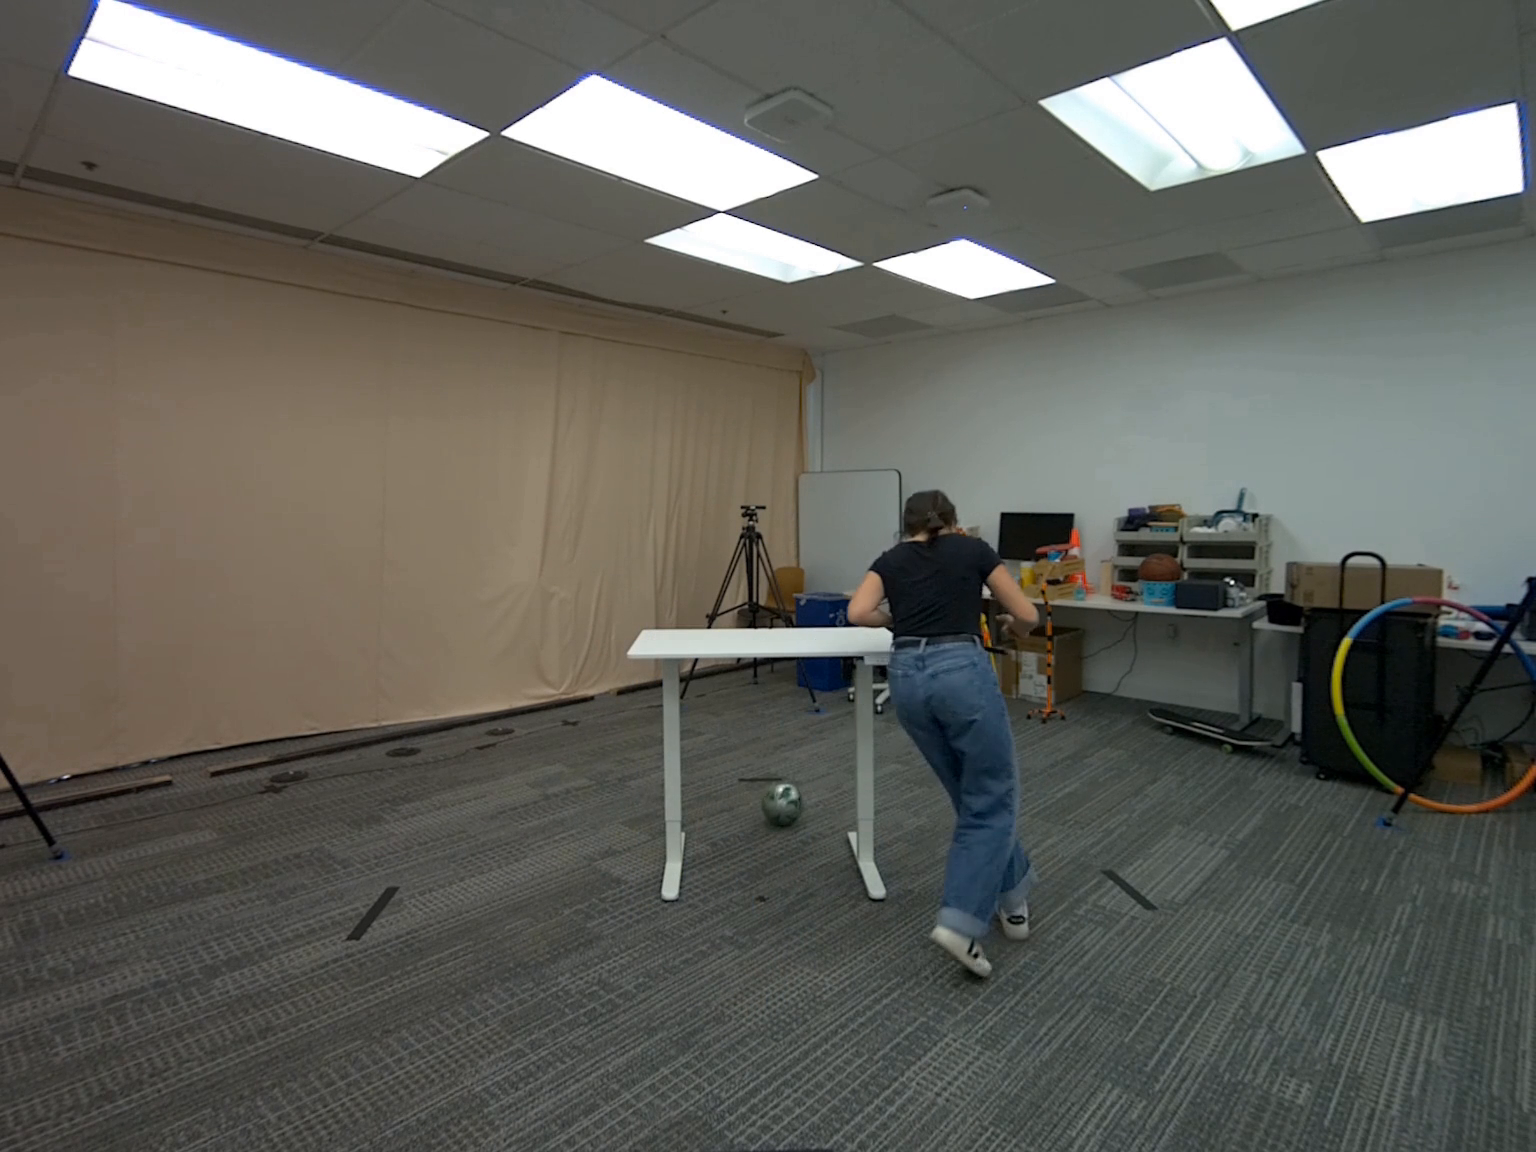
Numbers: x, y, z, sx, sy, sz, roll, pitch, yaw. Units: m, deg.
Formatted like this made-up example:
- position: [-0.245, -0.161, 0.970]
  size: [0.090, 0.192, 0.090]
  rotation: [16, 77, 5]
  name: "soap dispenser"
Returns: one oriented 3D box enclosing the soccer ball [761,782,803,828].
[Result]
- position: [0.068, 0.995, 3.681]
  size: [0.187, 0.187, 0.188]
  rotation: [0, 4, -2]
  name: "soccer ball"
